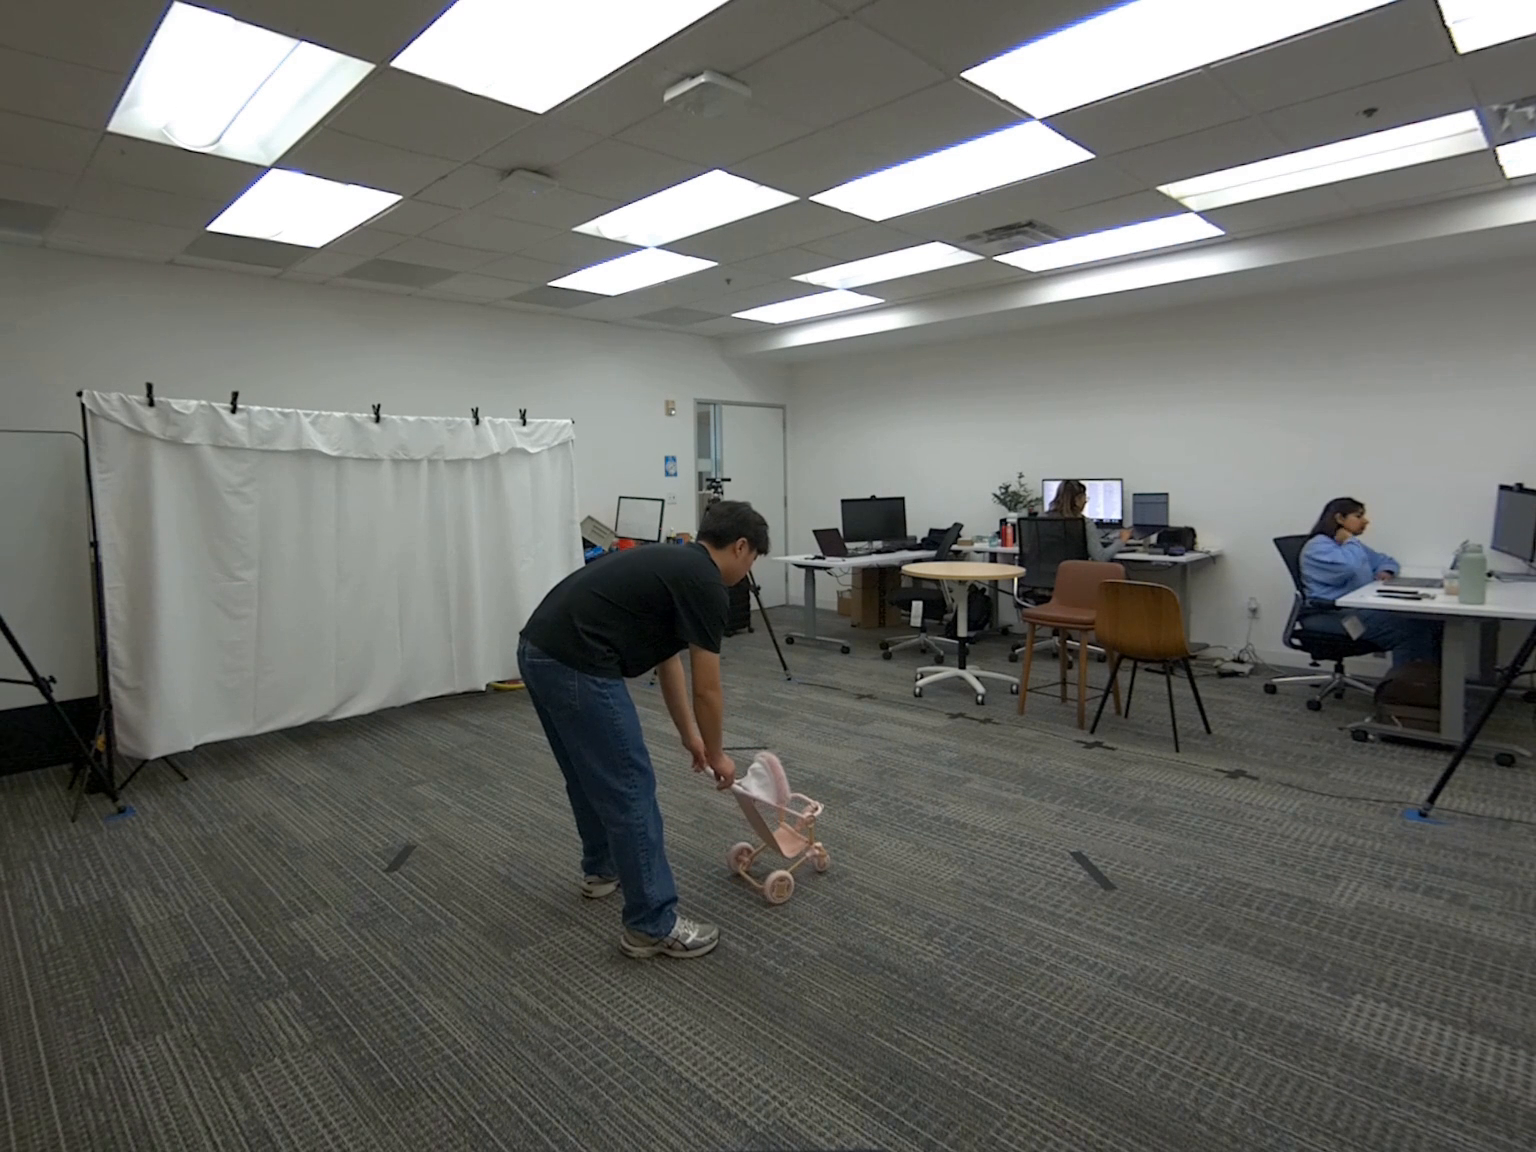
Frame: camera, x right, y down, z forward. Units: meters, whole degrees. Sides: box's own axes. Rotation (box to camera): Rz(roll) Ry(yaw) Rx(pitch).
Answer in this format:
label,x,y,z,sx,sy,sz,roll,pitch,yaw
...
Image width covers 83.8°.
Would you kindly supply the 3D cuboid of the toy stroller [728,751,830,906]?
label,x,y,z,sx,sy,sz,roll,pitch,yaw
toy stroller,0.023,0.836,2.930,0.337,0.529,0.288,-21,11,-22
